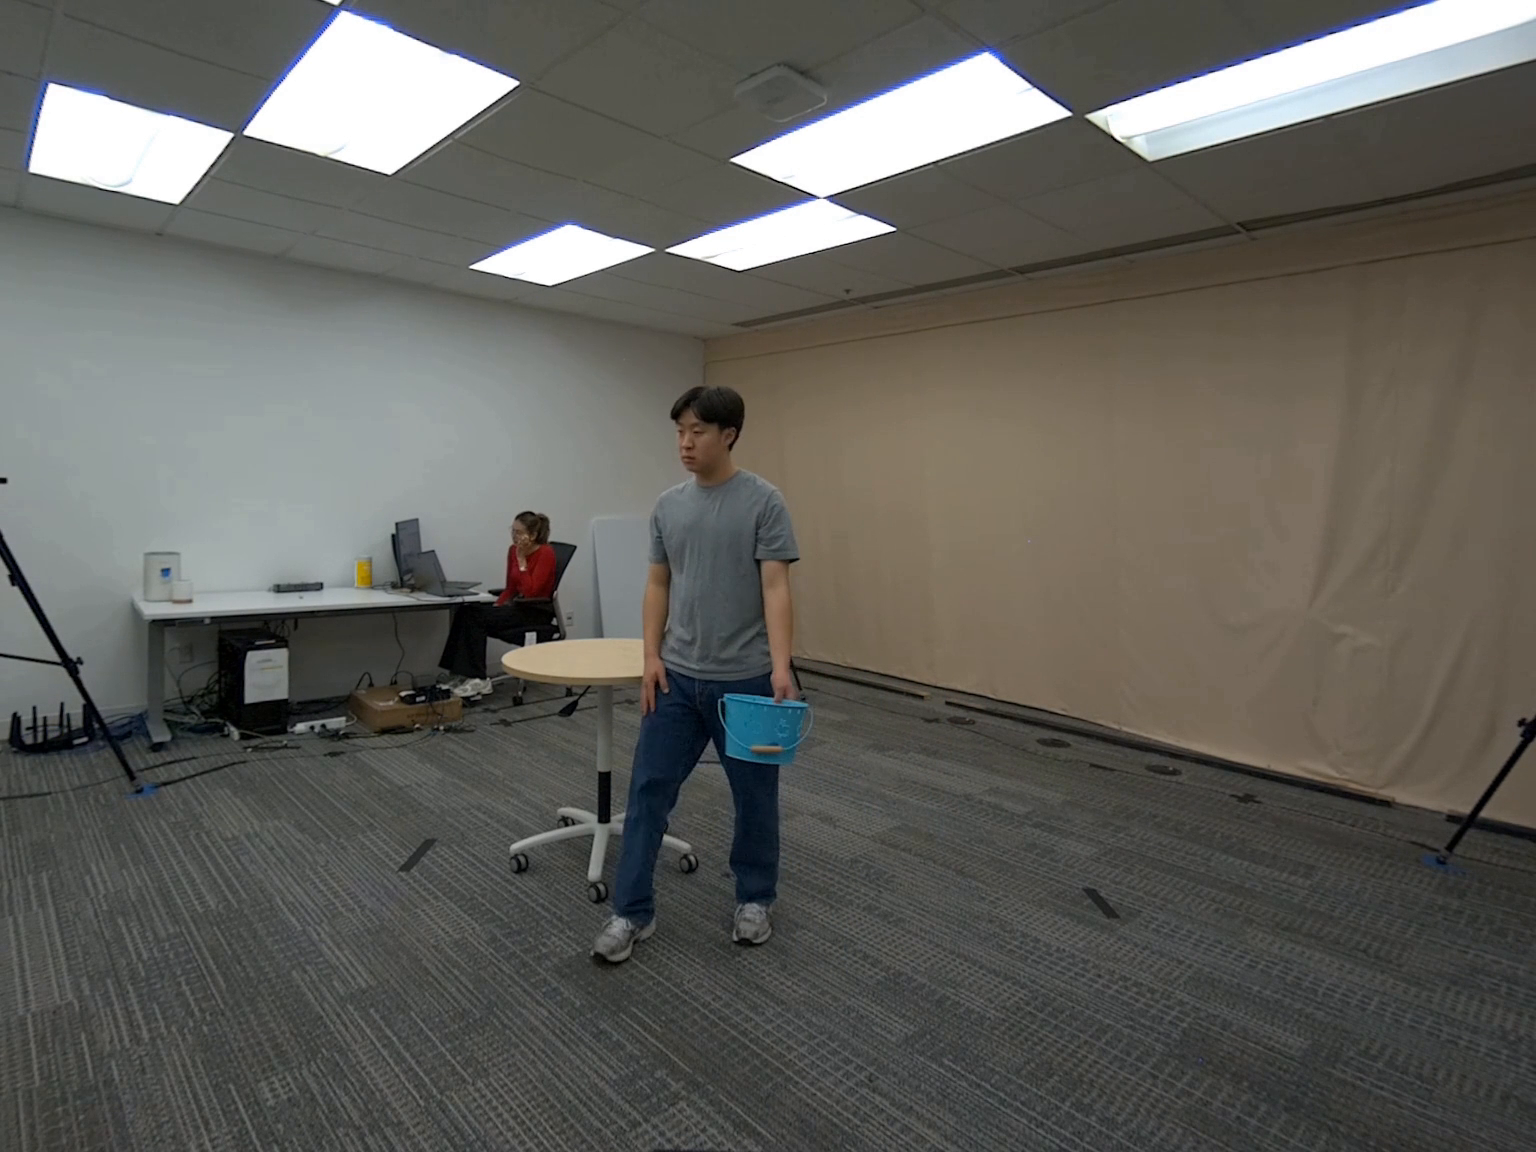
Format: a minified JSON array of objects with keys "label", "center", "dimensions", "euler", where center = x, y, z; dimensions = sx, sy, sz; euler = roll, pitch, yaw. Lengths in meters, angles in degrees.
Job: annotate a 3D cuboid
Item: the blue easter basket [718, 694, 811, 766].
[{"label":"blue easter basket","center":[-0.016,0.414,2.235],"dimensions":[0.243,0.156,0.243],"euler":[6,-5,-1]}]
